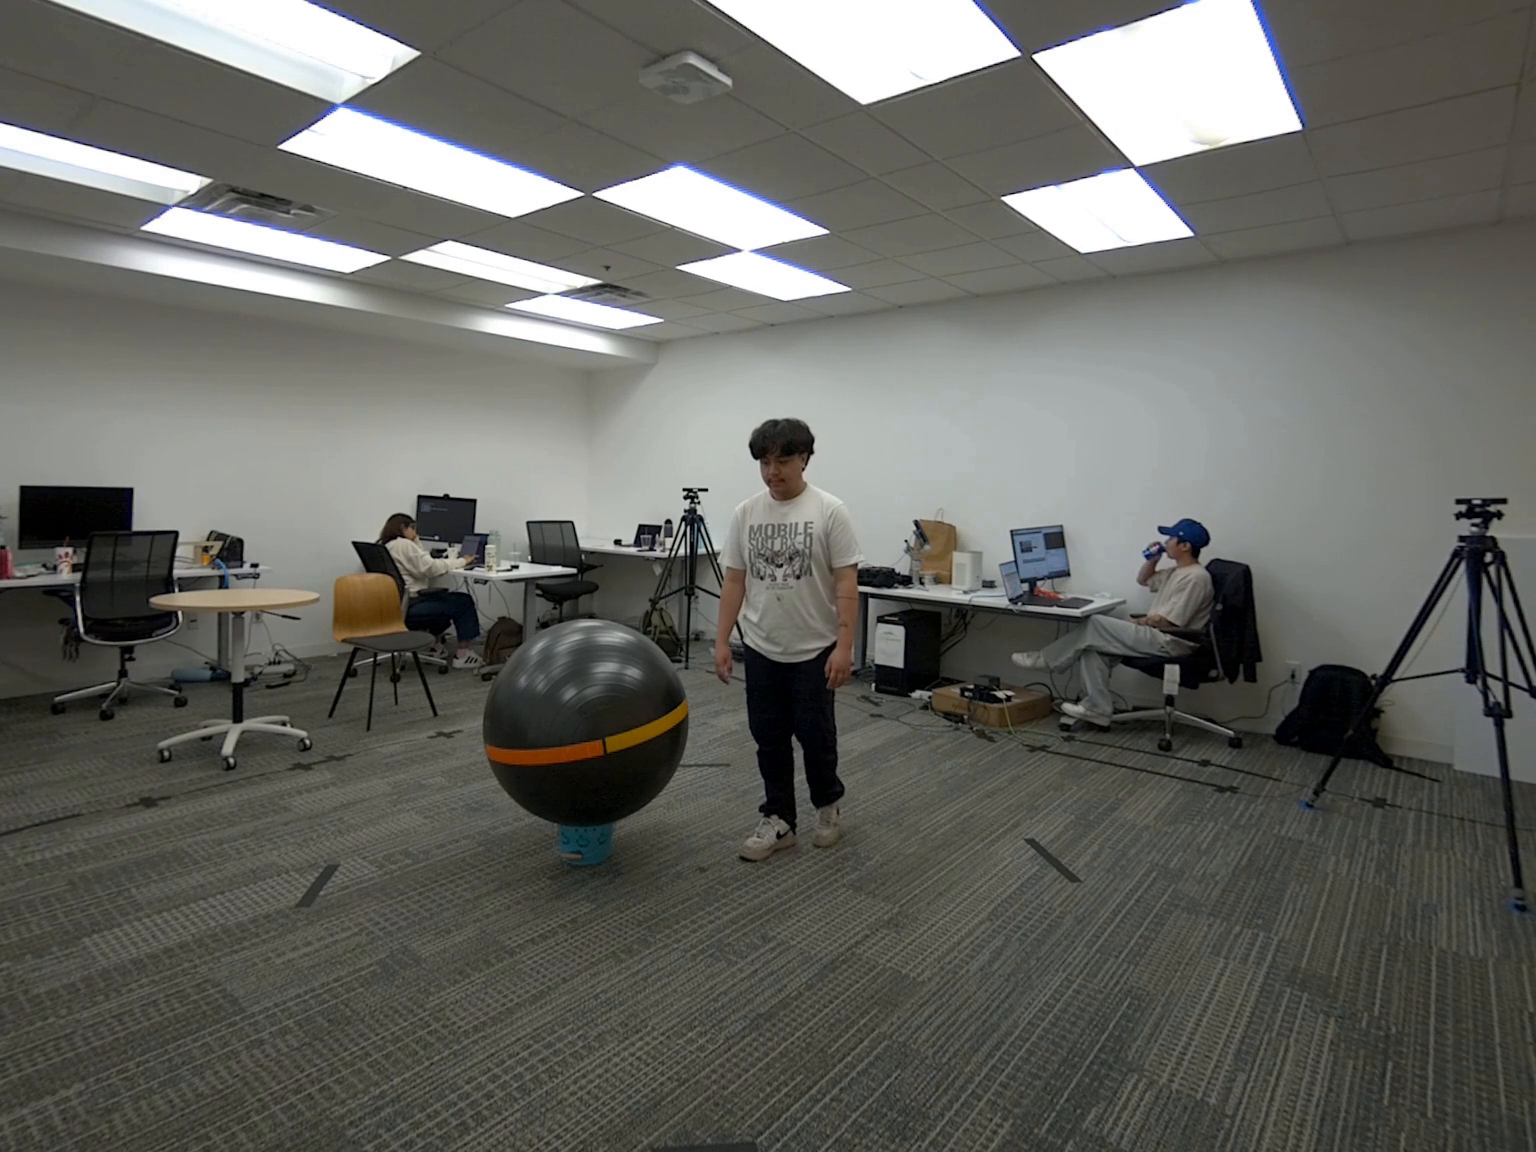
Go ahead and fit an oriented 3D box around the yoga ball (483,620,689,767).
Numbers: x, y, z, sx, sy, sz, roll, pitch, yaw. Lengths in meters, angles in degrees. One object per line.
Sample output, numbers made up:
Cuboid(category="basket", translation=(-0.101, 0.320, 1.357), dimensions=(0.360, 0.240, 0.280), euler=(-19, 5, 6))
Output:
Cuboid(category="yoga ball", translation=(-0.704, 0.544, 3.192), dimensions=(0.757, 0.755, 0.762), euler=(1, 4, -2))
